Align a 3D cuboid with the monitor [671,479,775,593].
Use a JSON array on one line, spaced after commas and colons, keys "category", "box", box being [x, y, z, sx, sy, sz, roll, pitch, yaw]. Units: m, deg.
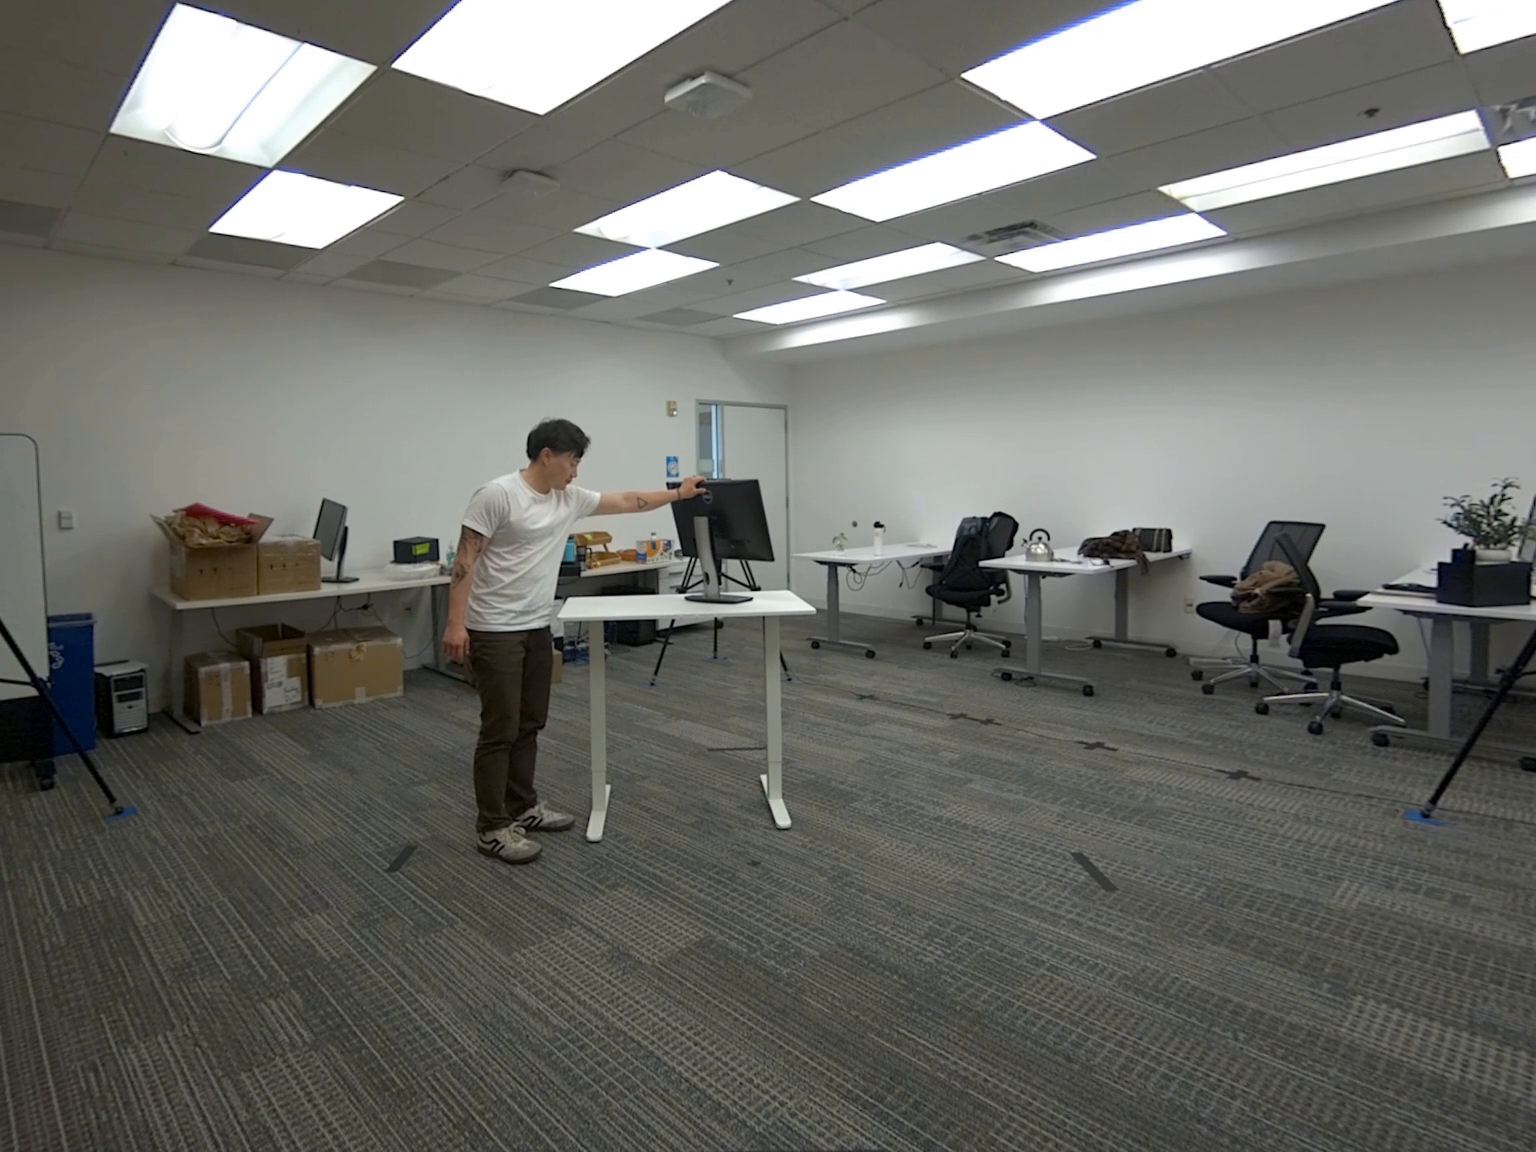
[{"category": "monitor", "box": [-0.232, -0.145, 3.646, 0.555, 0.520, 0.182, 3, 6, 40]}]
